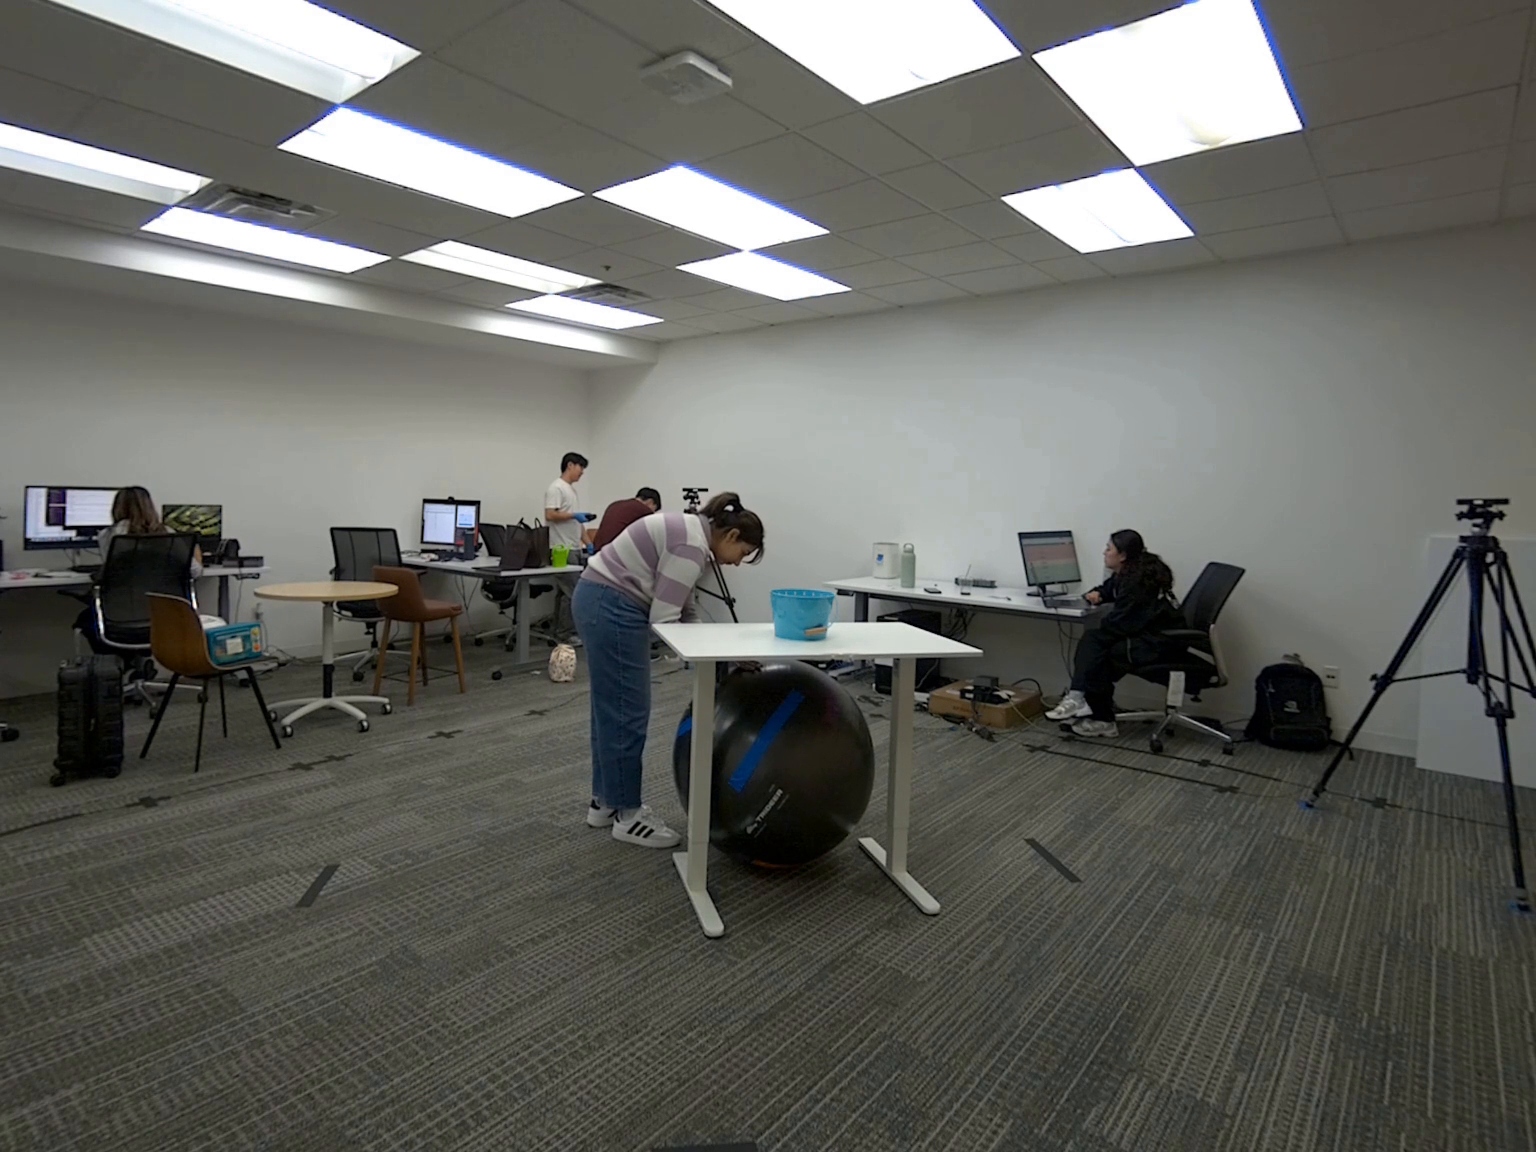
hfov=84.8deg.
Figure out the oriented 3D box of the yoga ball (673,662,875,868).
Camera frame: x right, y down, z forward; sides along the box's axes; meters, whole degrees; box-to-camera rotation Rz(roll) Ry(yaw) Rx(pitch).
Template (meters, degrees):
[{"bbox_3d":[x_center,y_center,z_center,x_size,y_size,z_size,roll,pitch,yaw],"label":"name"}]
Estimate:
[{"bbox_3d":[0.016,0.697,3.216,0.757,0.755,0.762,1,4,-2],"label":"yoga ball"}]
